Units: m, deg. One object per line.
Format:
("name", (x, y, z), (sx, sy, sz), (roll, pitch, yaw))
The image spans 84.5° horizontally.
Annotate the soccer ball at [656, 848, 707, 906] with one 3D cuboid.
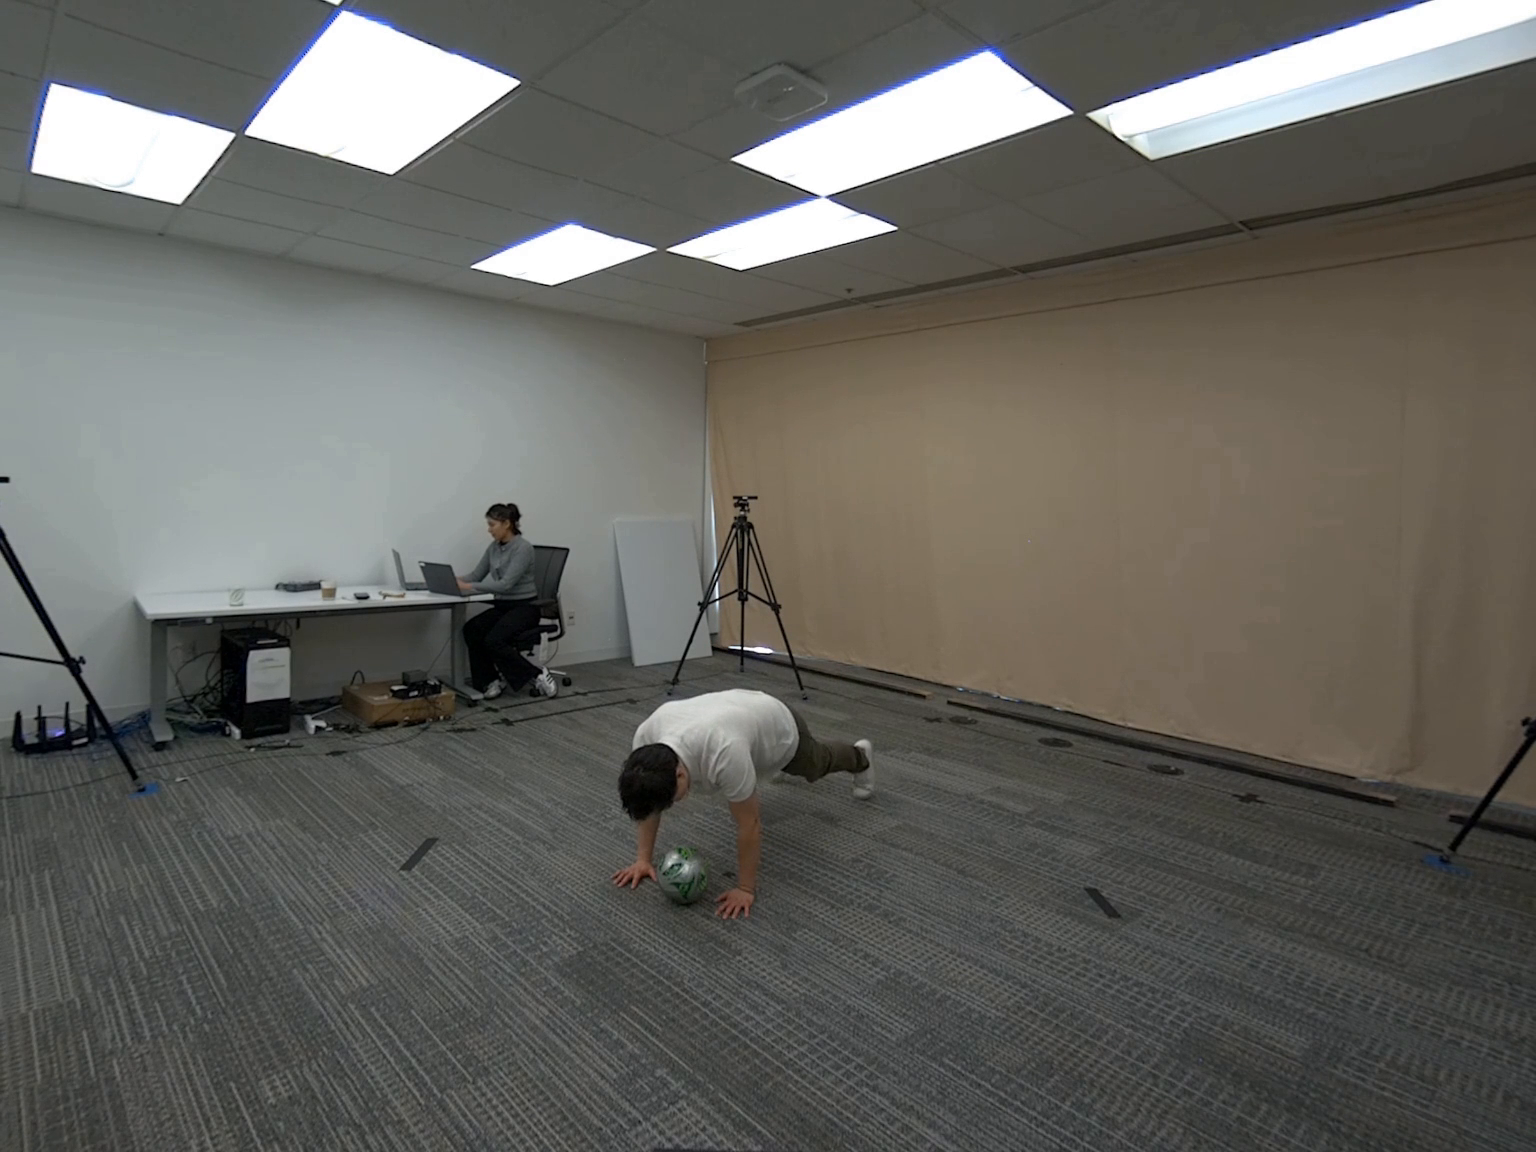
("soccer ball", (-0.299, 1.025, 2.881), (0.187, 0.187, 0.188), (1, 4, -1))
